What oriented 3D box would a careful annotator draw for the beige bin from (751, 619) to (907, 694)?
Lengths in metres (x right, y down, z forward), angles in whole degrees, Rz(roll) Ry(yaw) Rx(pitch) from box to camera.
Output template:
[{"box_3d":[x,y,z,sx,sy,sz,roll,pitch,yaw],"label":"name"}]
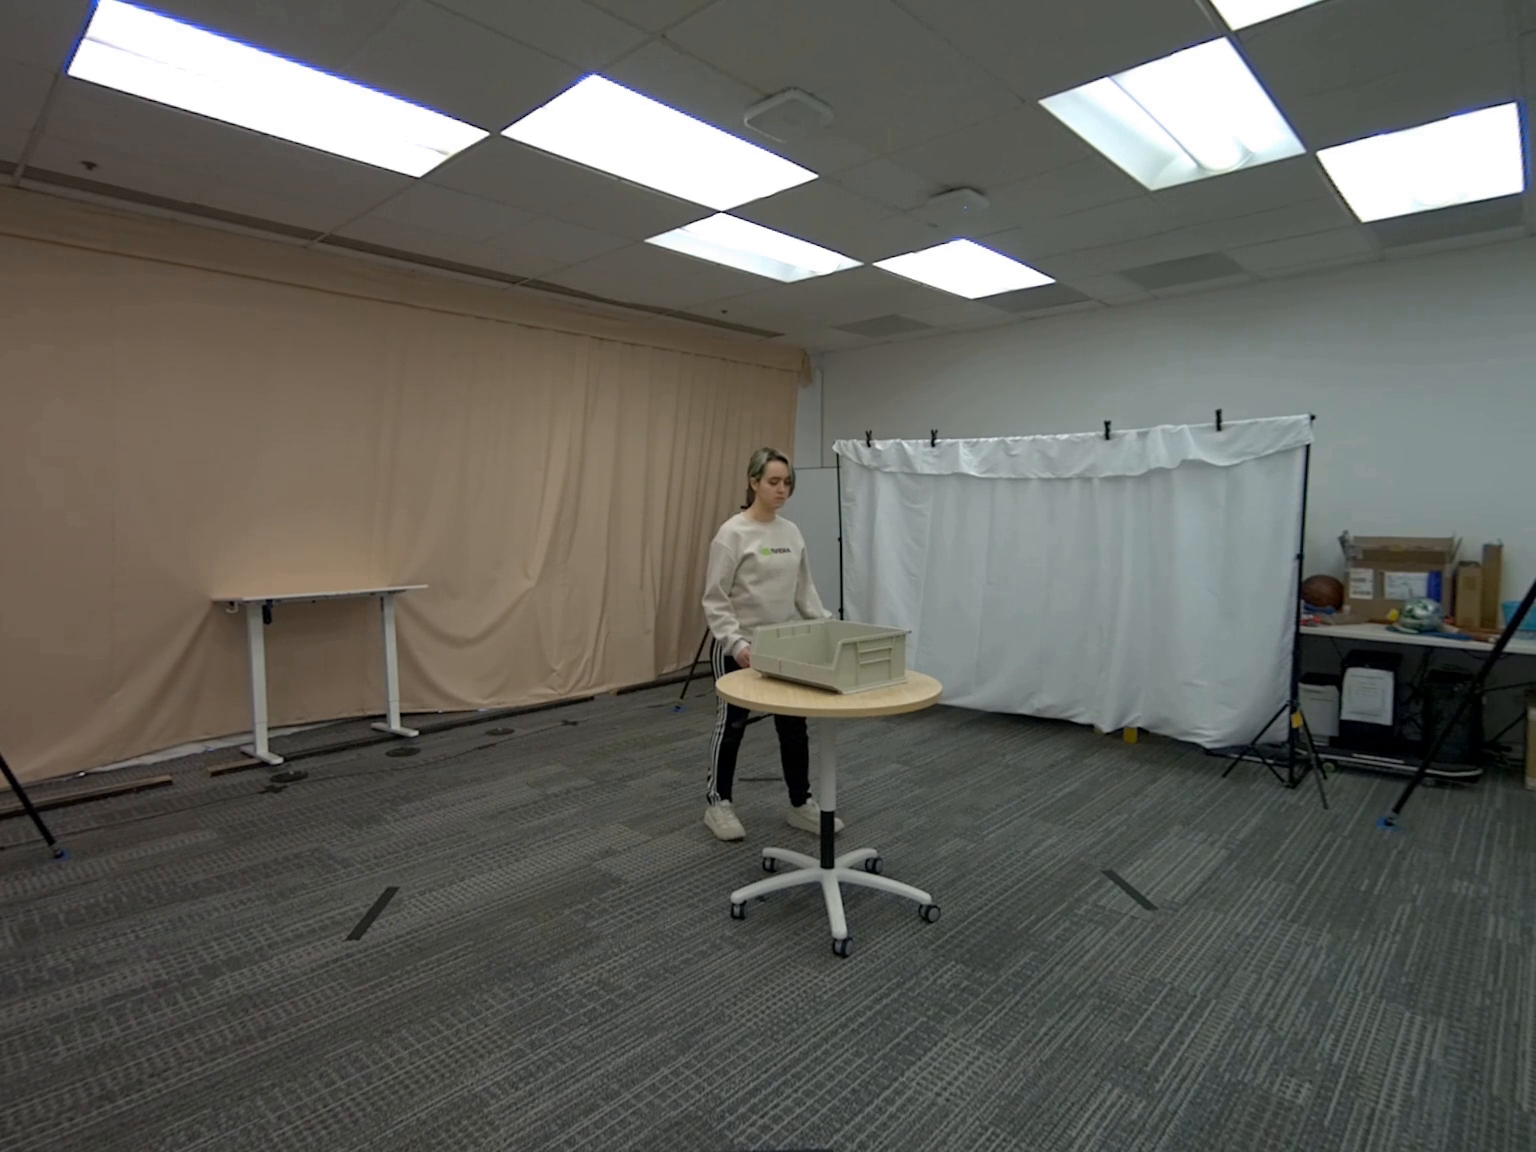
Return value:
[{"box_3d":[0.214,0.275,2.926,0.366,0.189,0.436,-3,4,-40],"label":"beige bin"}]
